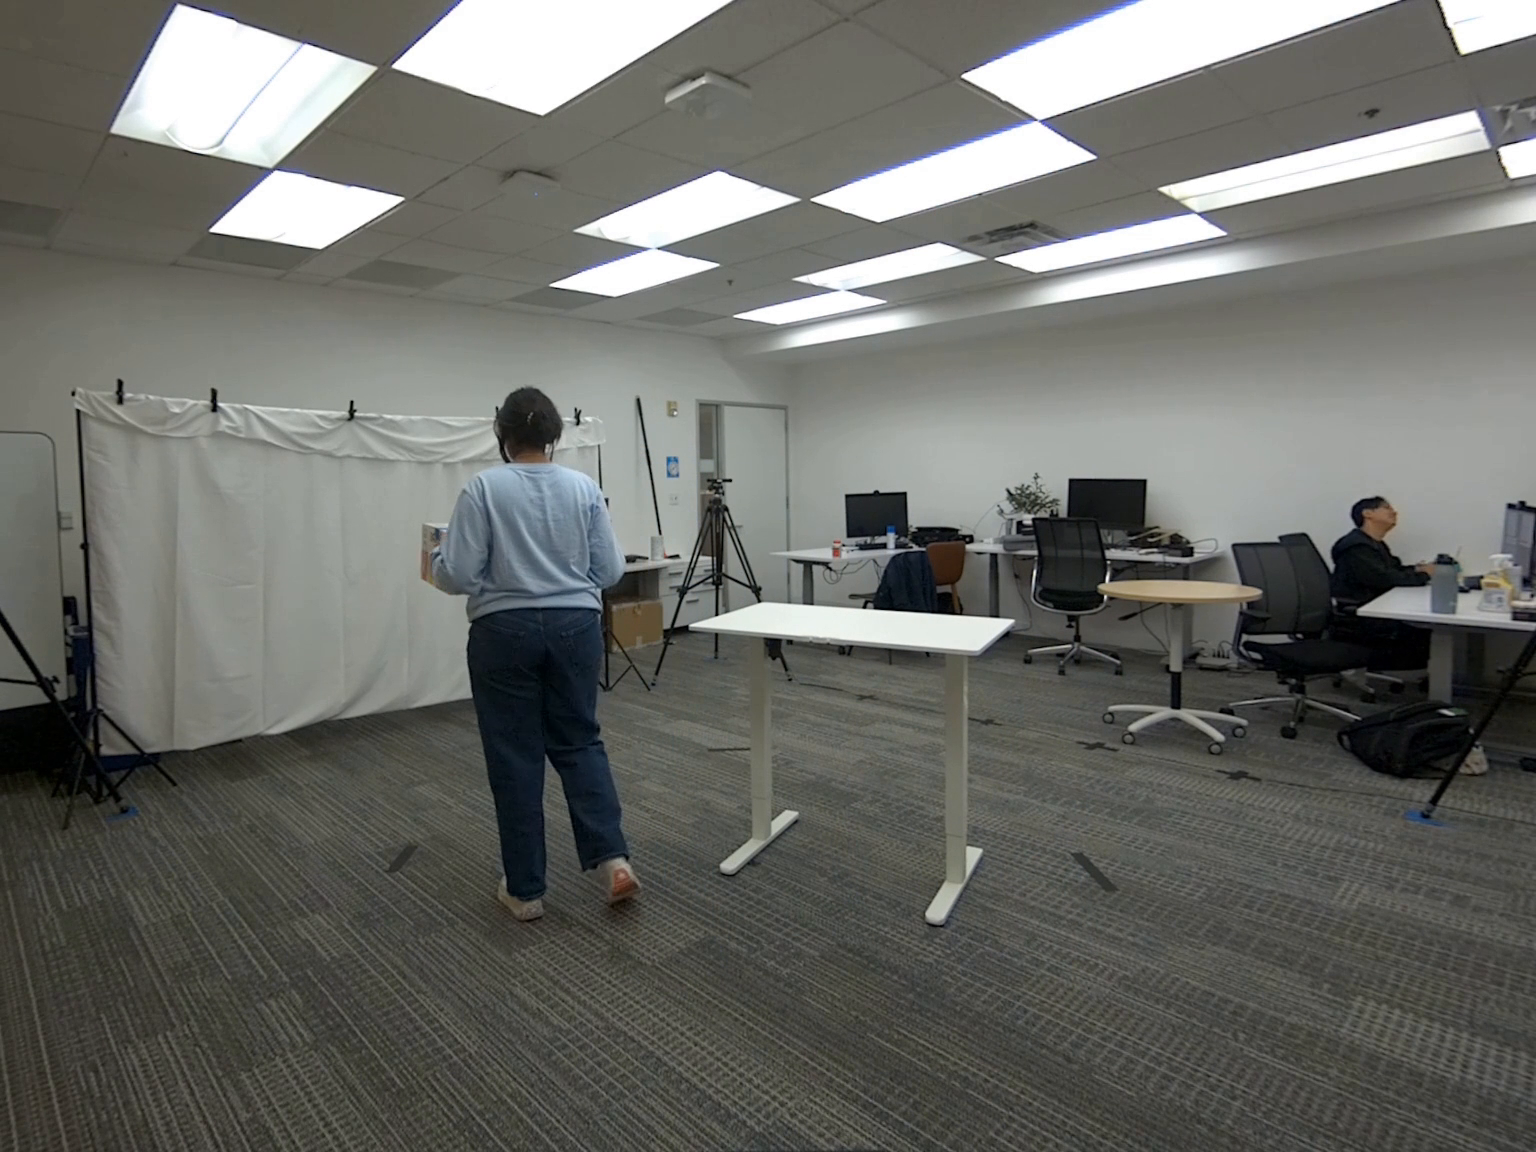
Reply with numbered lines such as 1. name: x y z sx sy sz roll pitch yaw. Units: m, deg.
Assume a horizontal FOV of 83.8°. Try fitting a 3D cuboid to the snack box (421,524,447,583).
1. snack box: -0.980 -0.068 3.068 0.394 0.204 0.352 -2 10 -37
